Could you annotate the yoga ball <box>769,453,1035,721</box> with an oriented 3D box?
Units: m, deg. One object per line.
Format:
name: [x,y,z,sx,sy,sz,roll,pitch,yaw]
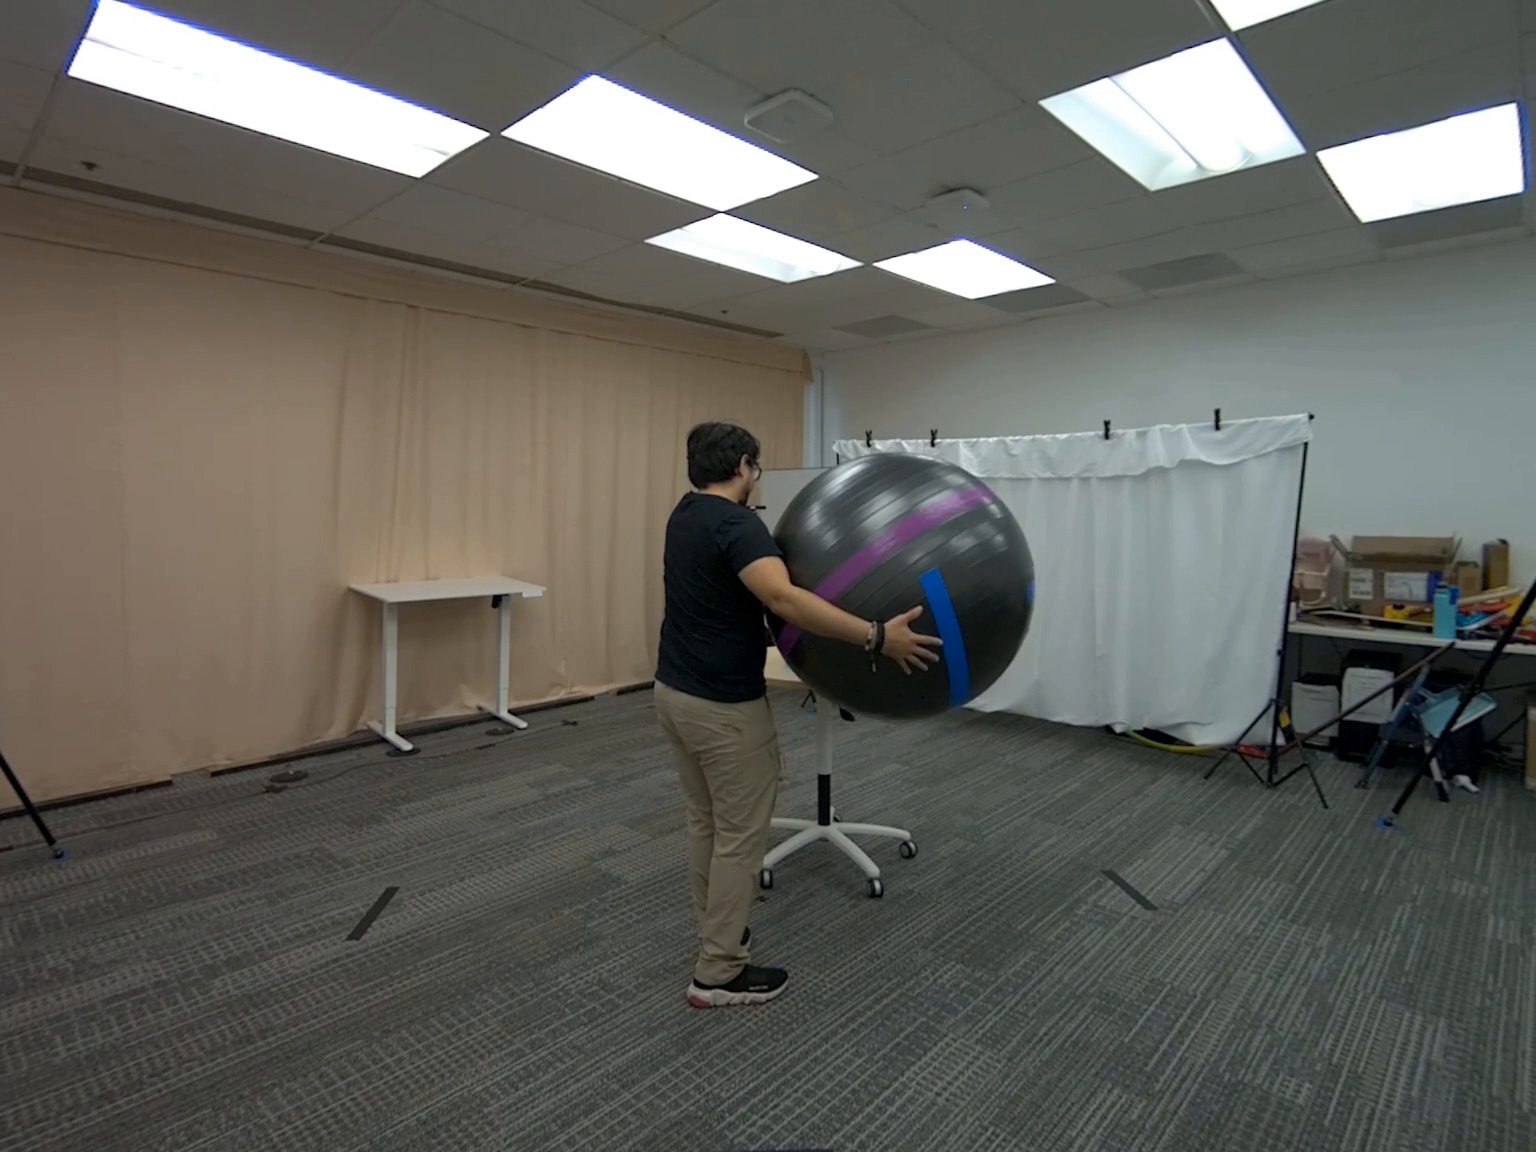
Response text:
yoga ball: [0.380,0.037,2.401,0.757,0.756,0.760,0,4,-2]
